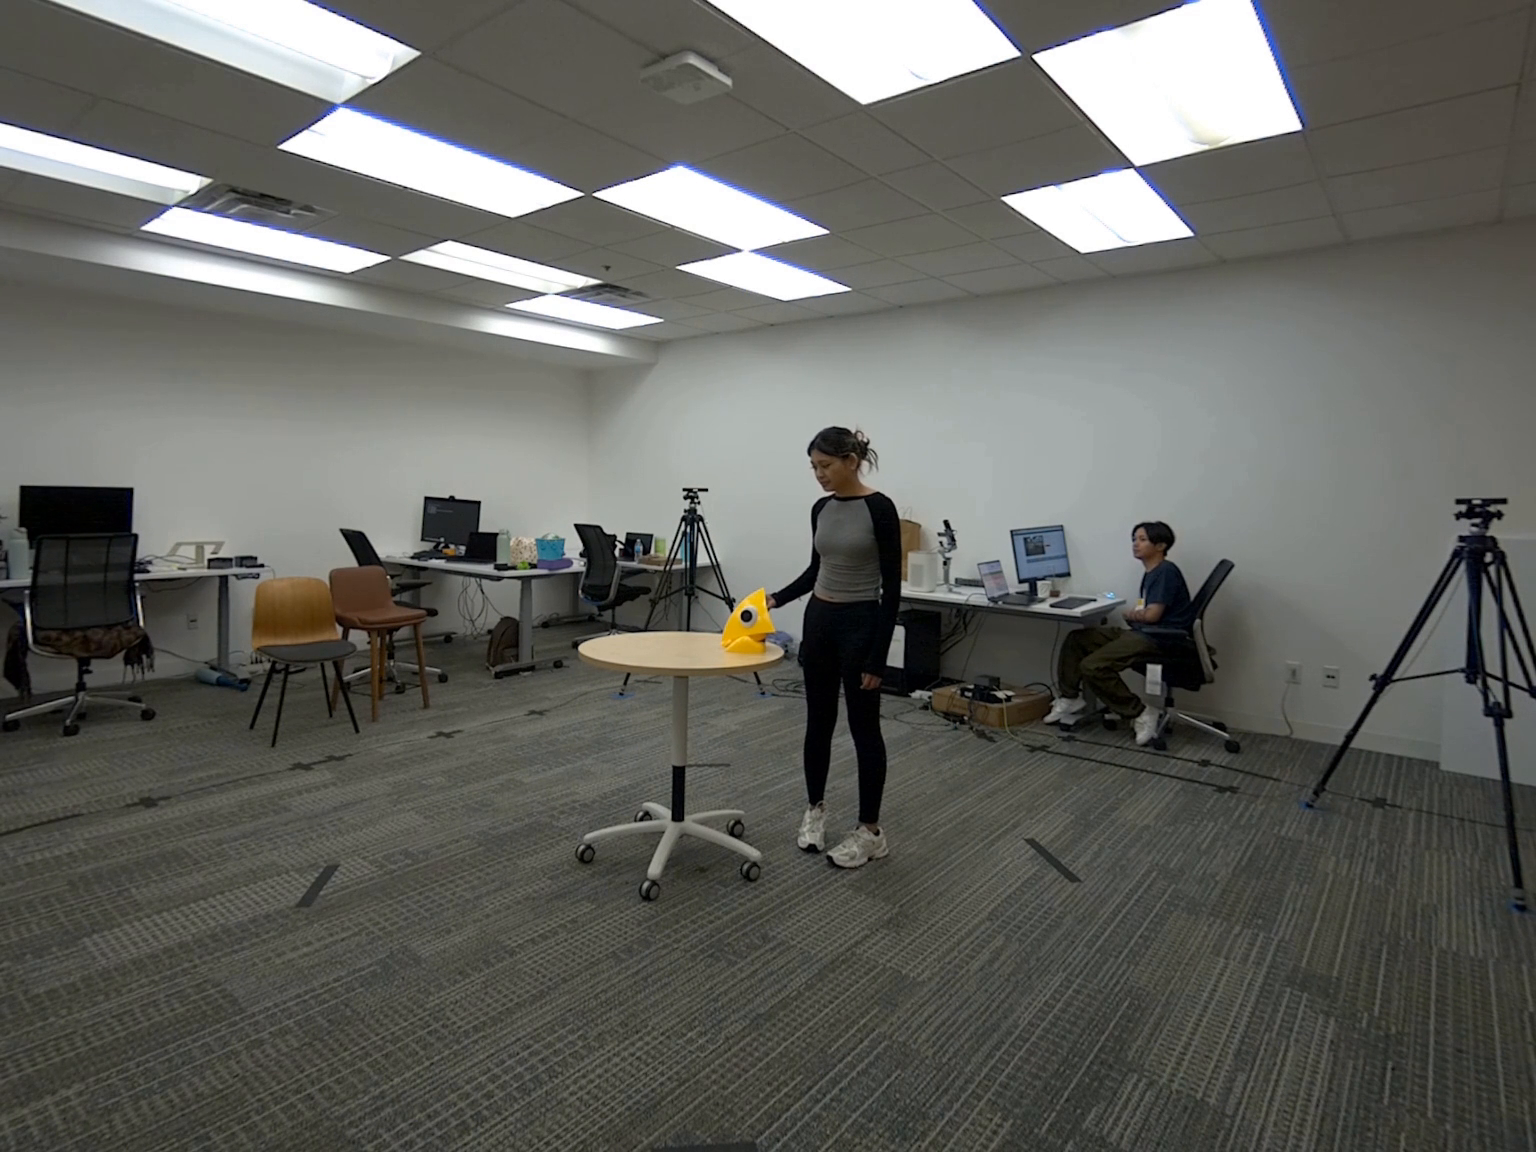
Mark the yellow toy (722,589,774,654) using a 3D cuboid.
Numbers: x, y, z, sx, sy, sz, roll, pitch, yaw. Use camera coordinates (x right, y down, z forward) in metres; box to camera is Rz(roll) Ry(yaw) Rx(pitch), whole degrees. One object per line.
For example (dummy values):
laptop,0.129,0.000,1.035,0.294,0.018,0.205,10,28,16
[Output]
yellow toy,-0.088,0.155,3.210,0.191,0.230,0.207,0,3,-9
